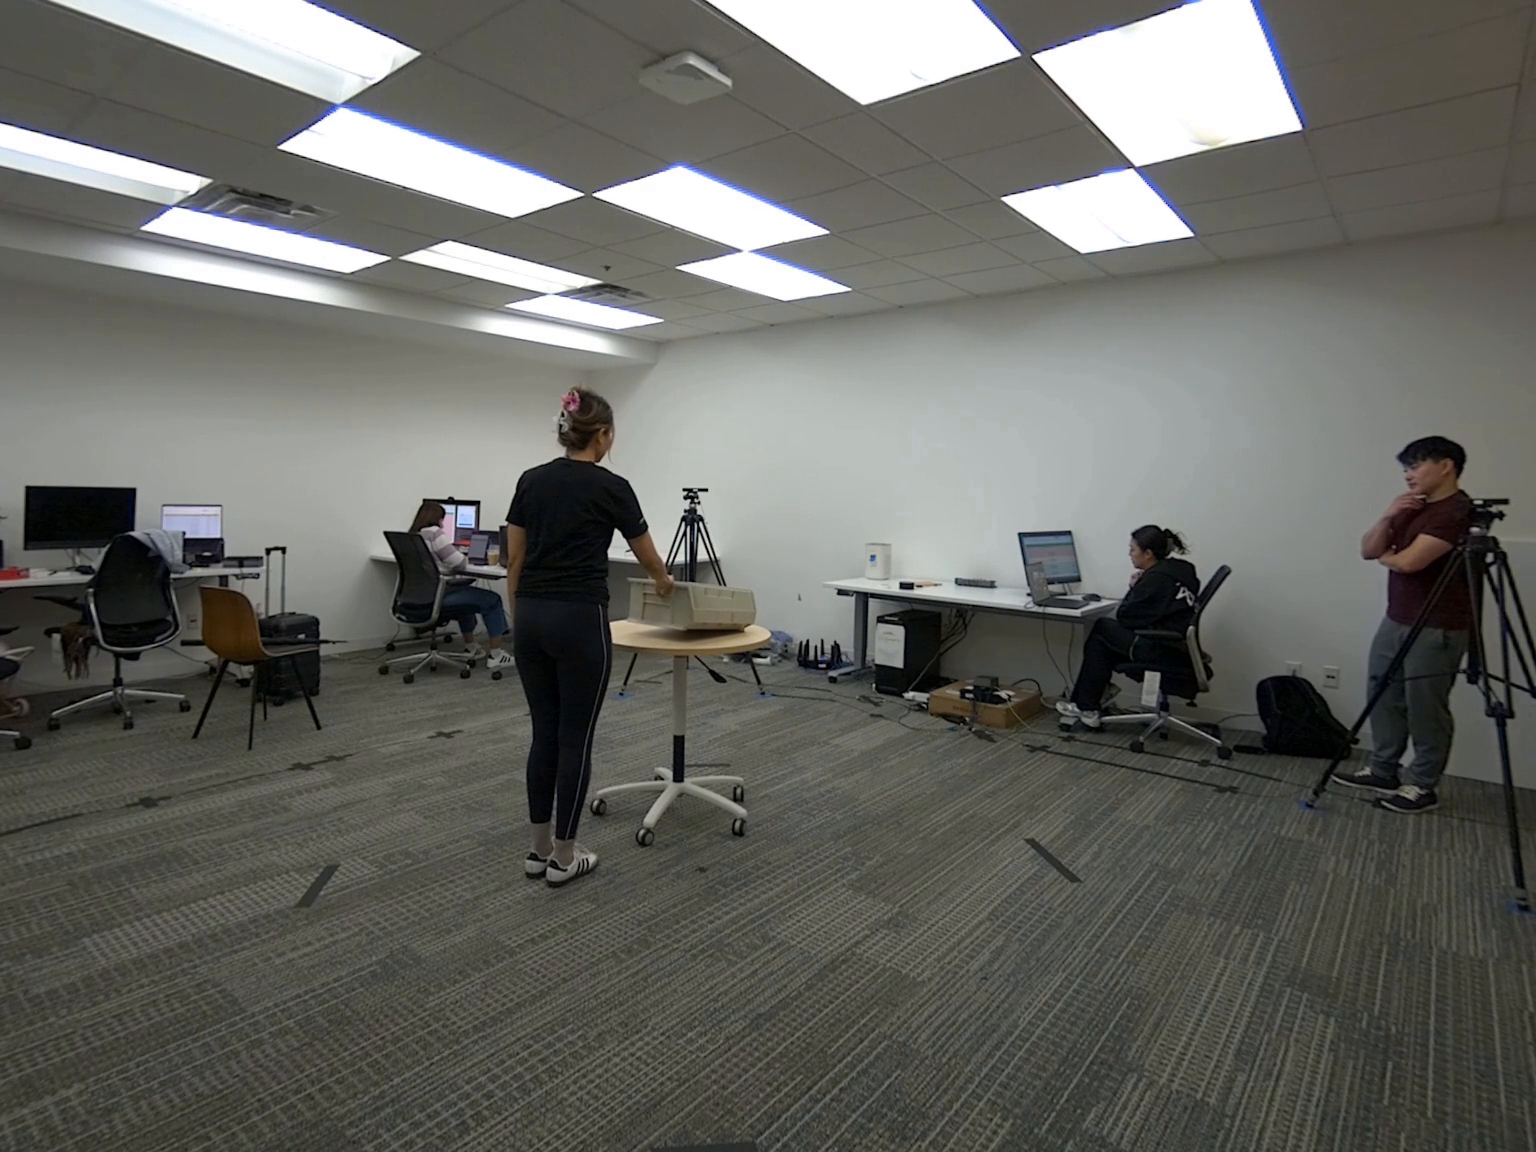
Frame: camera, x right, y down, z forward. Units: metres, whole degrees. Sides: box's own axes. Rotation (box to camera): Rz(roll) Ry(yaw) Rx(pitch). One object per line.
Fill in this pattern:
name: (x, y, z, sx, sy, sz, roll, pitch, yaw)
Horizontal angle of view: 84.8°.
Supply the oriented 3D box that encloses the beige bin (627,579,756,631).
beige bin: (-0.332, 0.121, 3.592, 0.390, 0.189, 0.408, 4, -1, 37)
